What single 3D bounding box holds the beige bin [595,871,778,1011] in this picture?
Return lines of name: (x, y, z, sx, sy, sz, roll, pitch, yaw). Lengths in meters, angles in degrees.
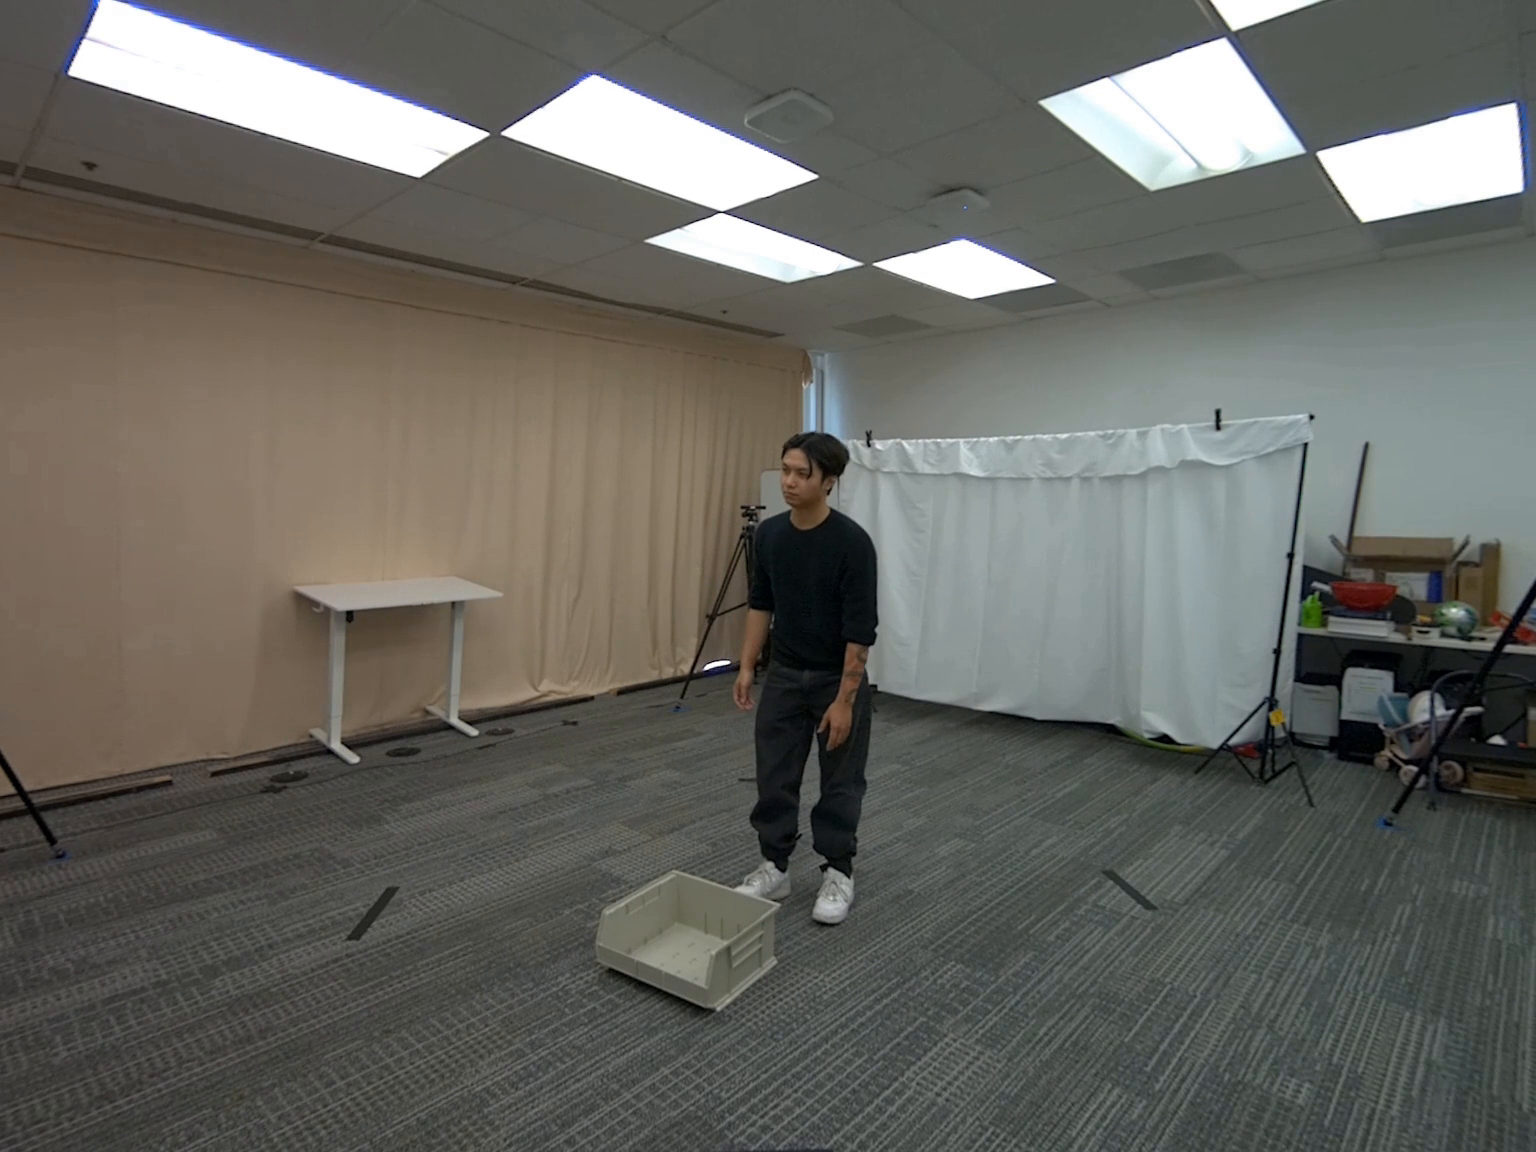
beige bin: (-0.237, 1.095, 2.537, 0.435, 0.188, 0.366, 2, 4, 34)
